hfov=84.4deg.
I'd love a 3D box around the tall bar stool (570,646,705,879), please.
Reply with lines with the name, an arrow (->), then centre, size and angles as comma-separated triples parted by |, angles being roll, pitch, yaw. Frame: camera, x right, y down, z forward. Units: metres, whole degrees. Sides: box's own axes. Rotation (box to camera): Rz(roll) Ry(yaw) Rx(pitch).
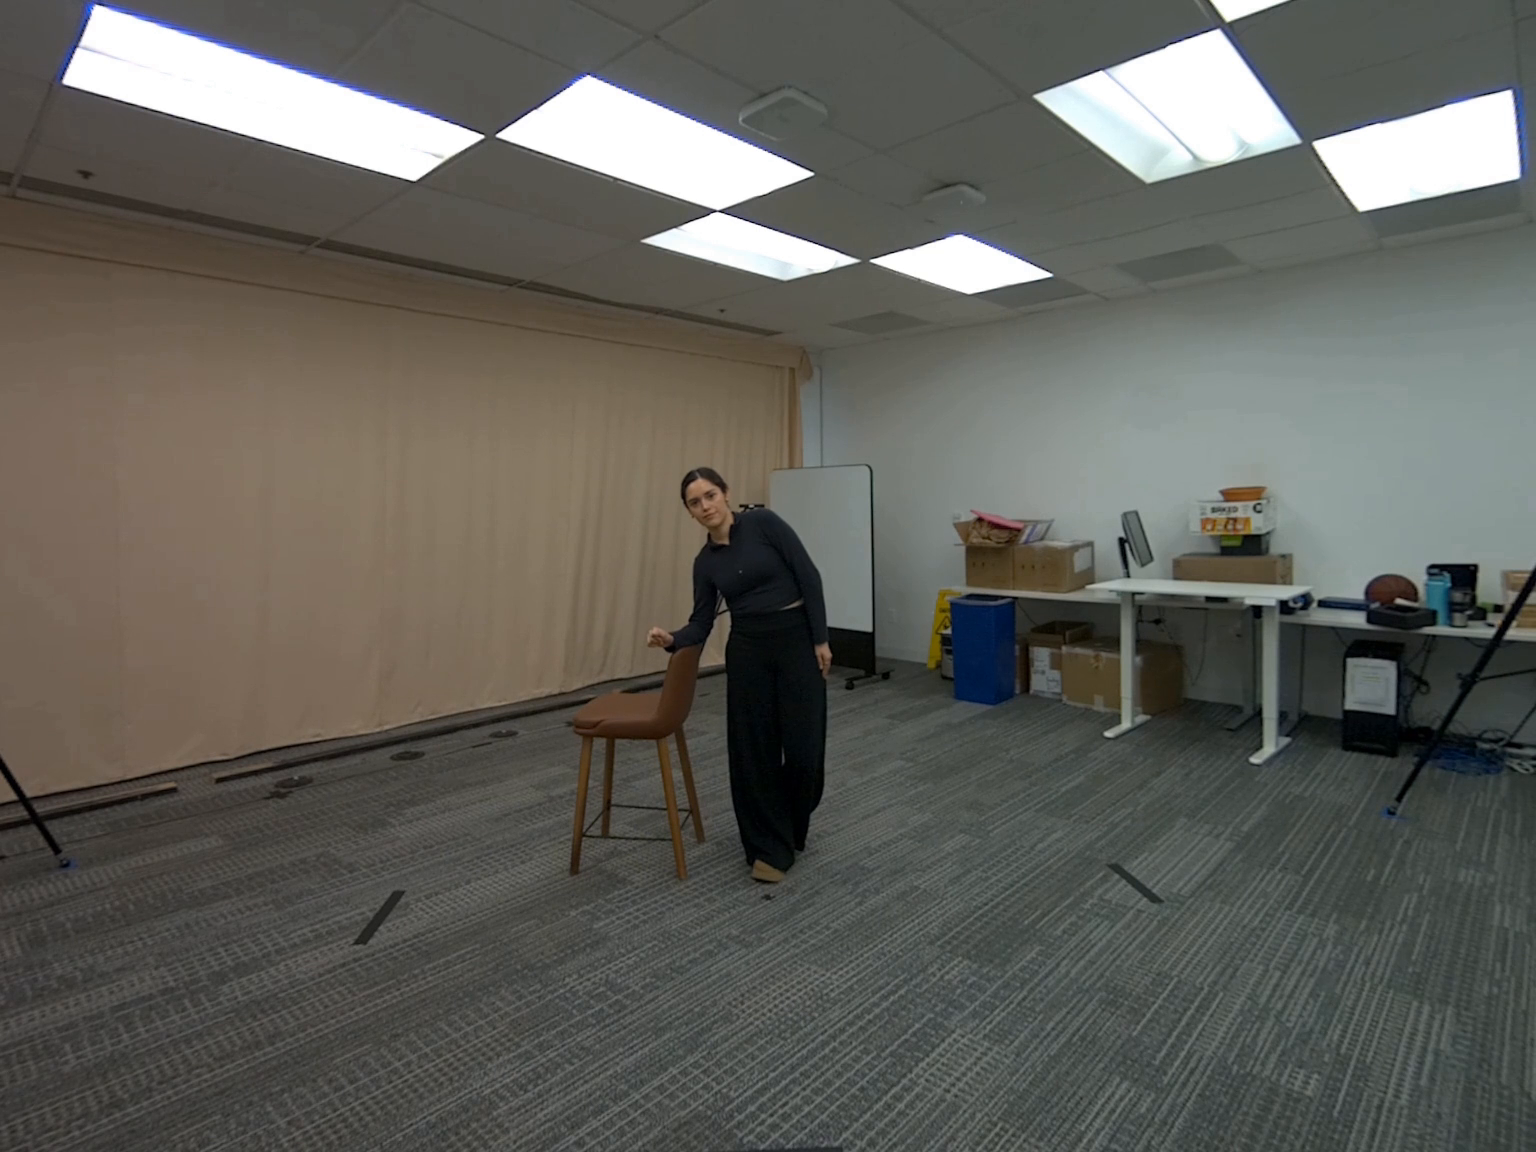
tall bar stool -> -0.512, 0.687, 3.342 | 0.473, 0.888, 0.452 | 1, 3, 9
